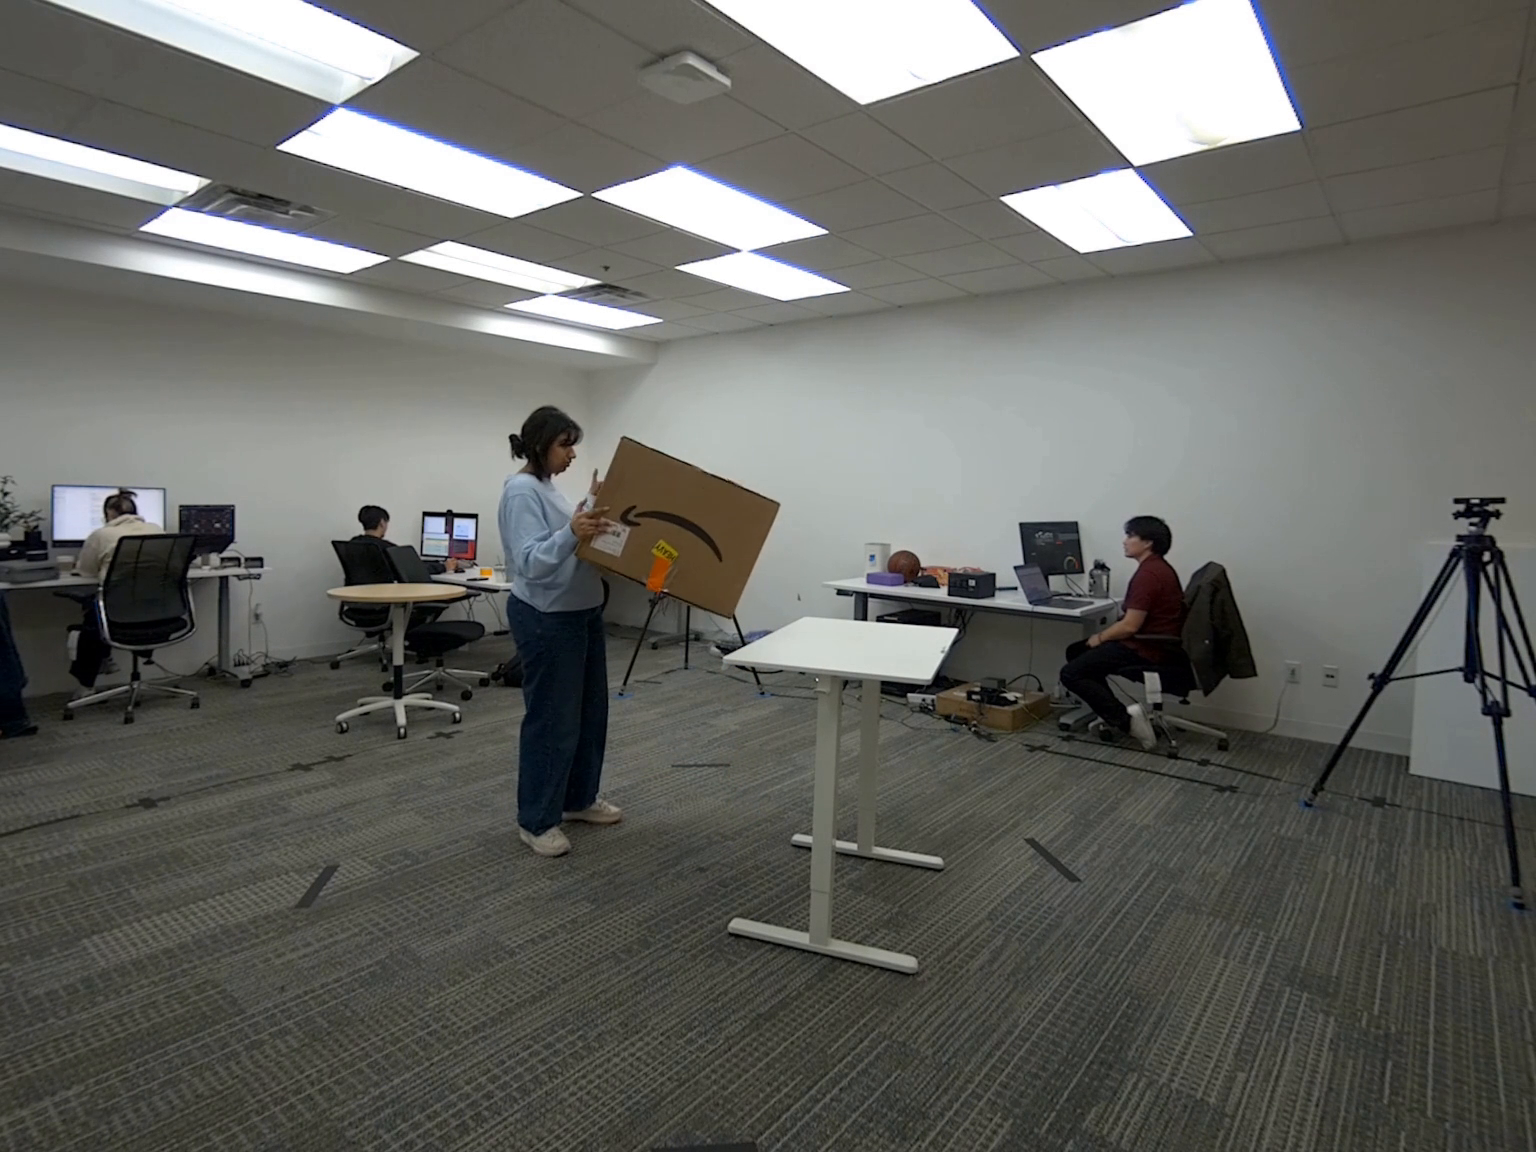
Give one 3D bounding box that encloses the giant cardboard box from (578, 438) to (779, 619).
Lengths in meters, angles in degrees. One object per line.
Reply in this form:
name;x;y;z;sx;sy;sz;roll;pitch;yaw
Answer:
giant cardboard box;-0.379;-0.236;3.306;0.571;0.425;1.041;21;5;-11
